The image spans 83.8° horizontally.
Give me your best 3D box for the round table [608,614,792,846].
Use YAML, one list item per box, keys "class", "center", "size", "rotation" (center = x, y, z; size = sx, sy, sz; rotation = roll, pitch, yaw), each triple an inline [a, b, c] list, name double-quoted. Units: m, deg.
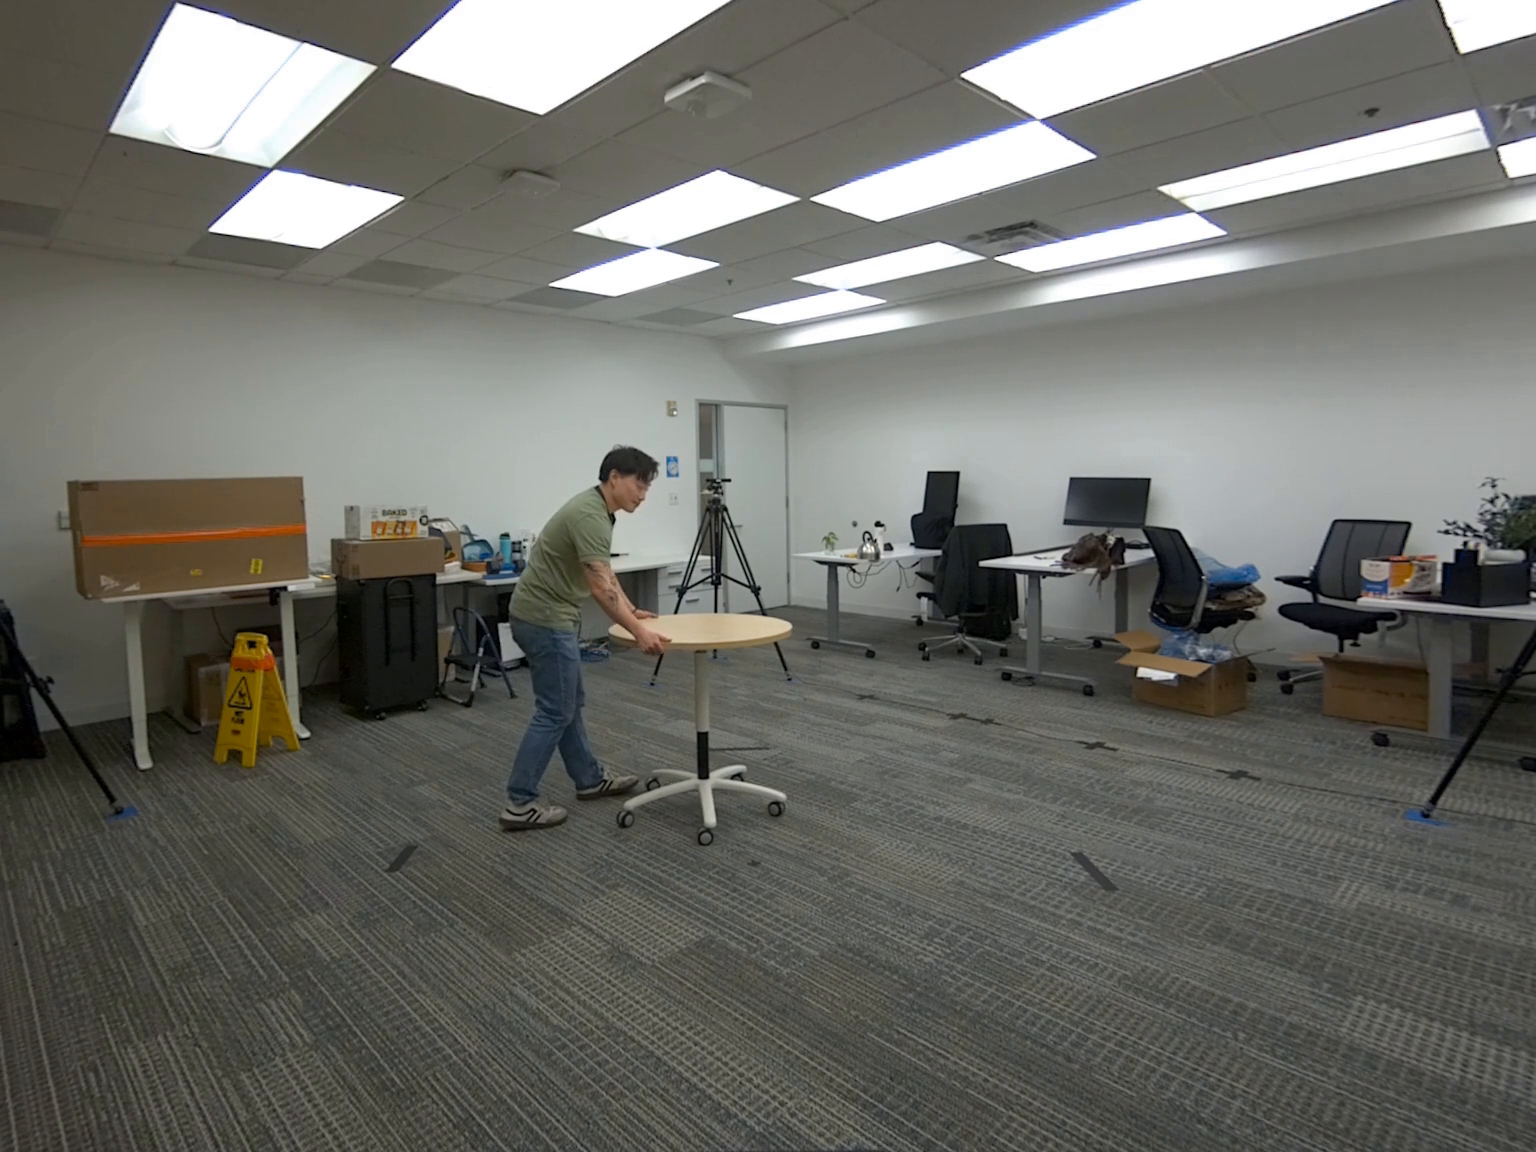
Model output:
- class: "round table"
  center: [-0.280, 0.604, 3.580]
  size: [0.763, 0.791, 0.767]
  rotation: [-1, 4, -2]
